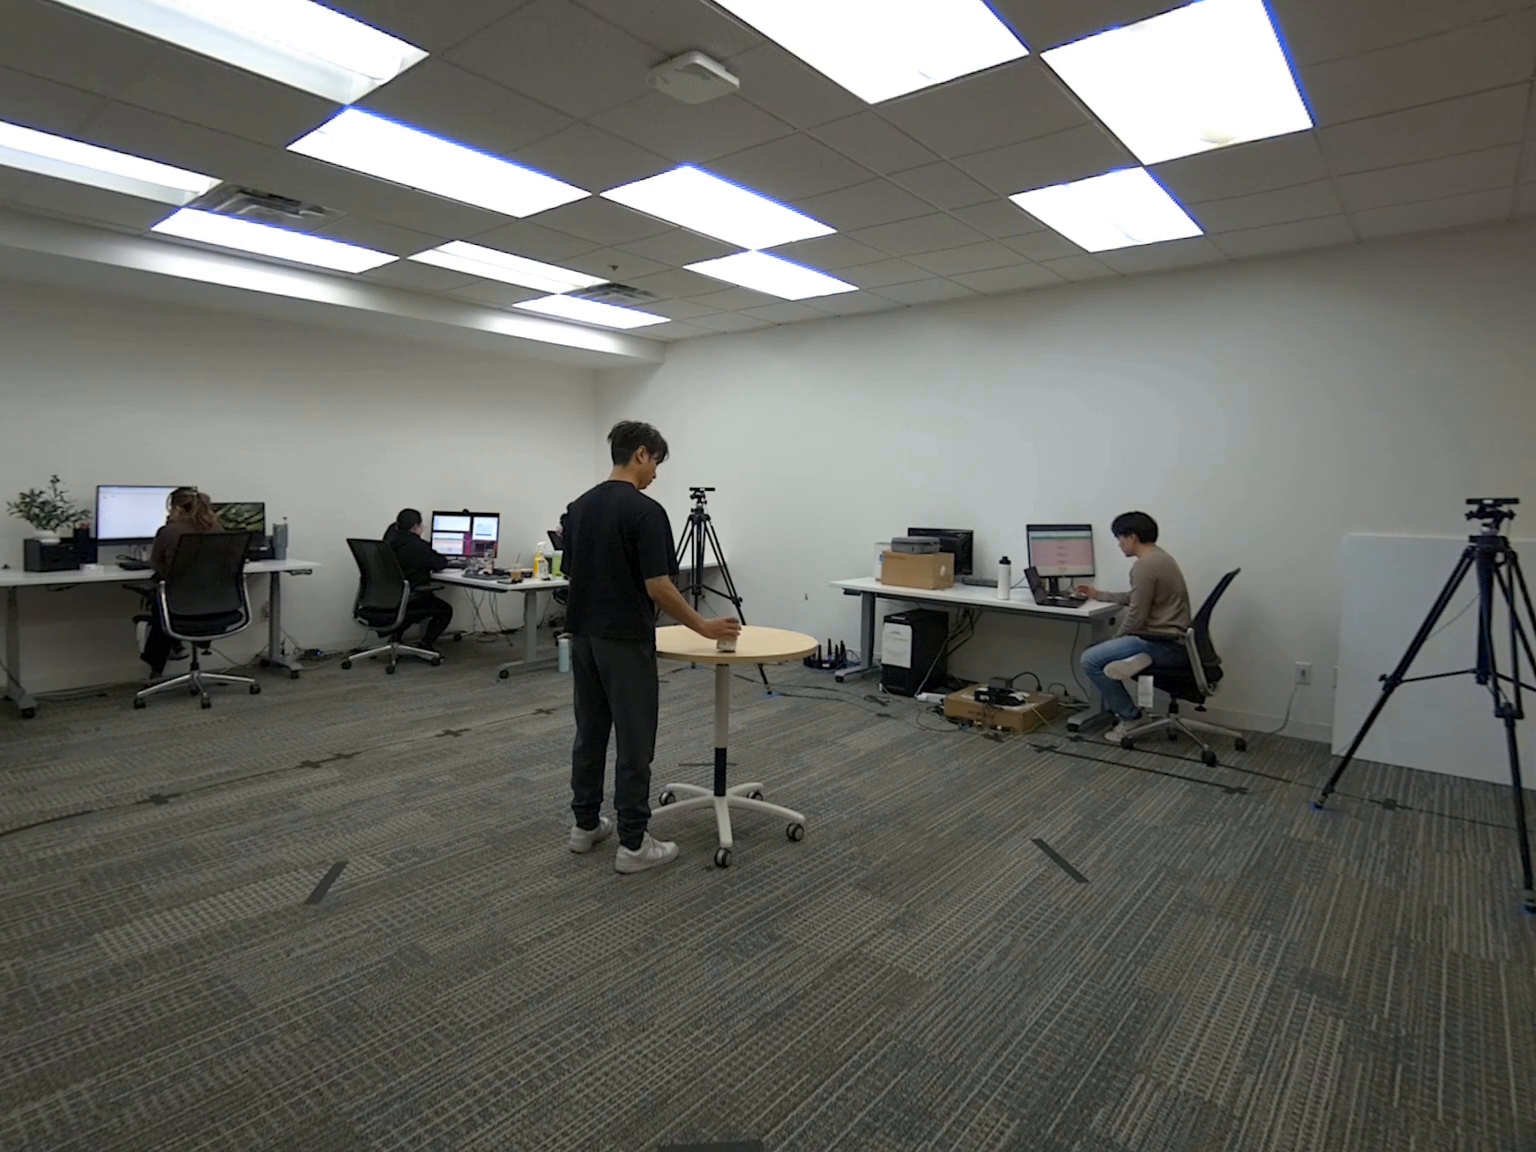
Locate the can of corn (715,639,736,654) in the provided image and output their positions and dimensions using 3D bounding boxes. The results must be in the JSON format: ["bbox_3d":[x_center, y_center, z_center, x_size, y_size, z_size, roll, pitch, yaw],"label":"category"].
[{"bbox_3d":[-0.162,0.223,3.170,0.074,0.111,0.074,0,-2,-2],"label":"can of corn"}]
